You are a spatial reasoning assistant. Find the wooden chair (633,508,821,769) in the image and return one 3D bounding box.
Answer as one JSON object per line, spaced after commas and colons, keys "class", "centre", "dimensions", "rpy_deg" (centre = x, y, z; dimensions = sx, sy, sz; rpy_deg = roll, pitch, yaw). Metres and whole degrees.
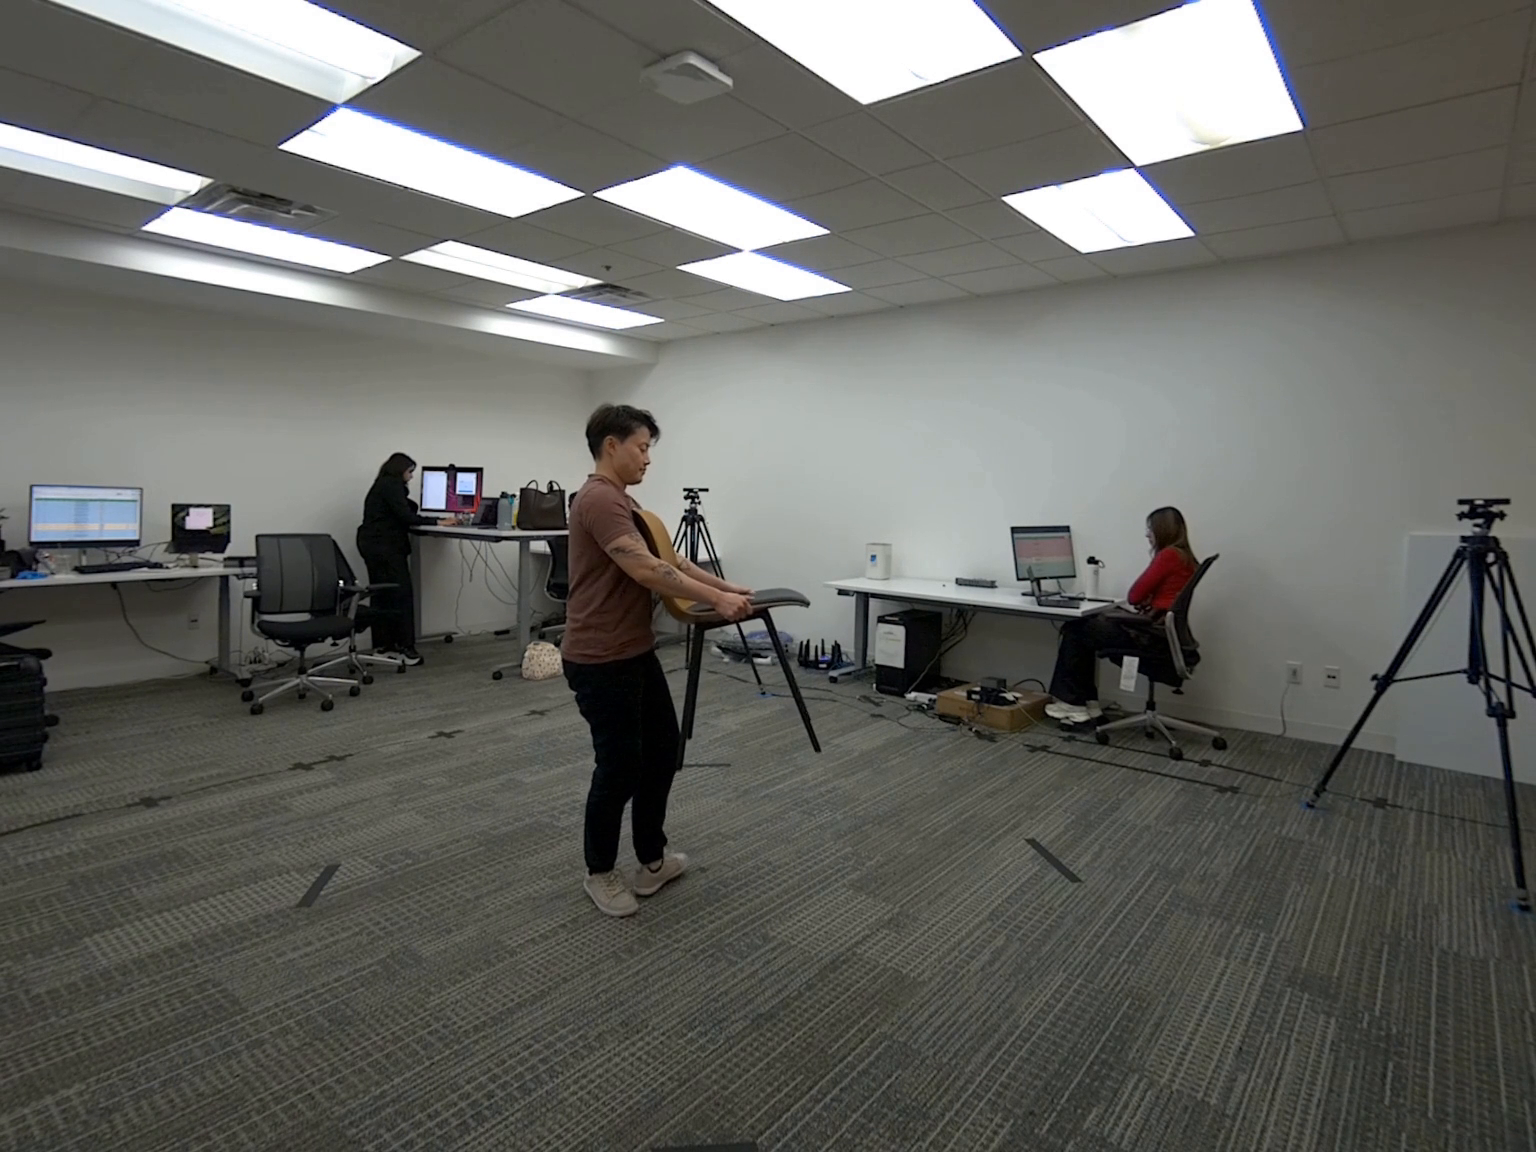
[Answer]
{"class": "wooden chair", "centre": [-0.122, 0.151, 2.864], "dimensions": [0.524, 0.879, 0.477], "rpy_deg": [-12, -1, 1]}
